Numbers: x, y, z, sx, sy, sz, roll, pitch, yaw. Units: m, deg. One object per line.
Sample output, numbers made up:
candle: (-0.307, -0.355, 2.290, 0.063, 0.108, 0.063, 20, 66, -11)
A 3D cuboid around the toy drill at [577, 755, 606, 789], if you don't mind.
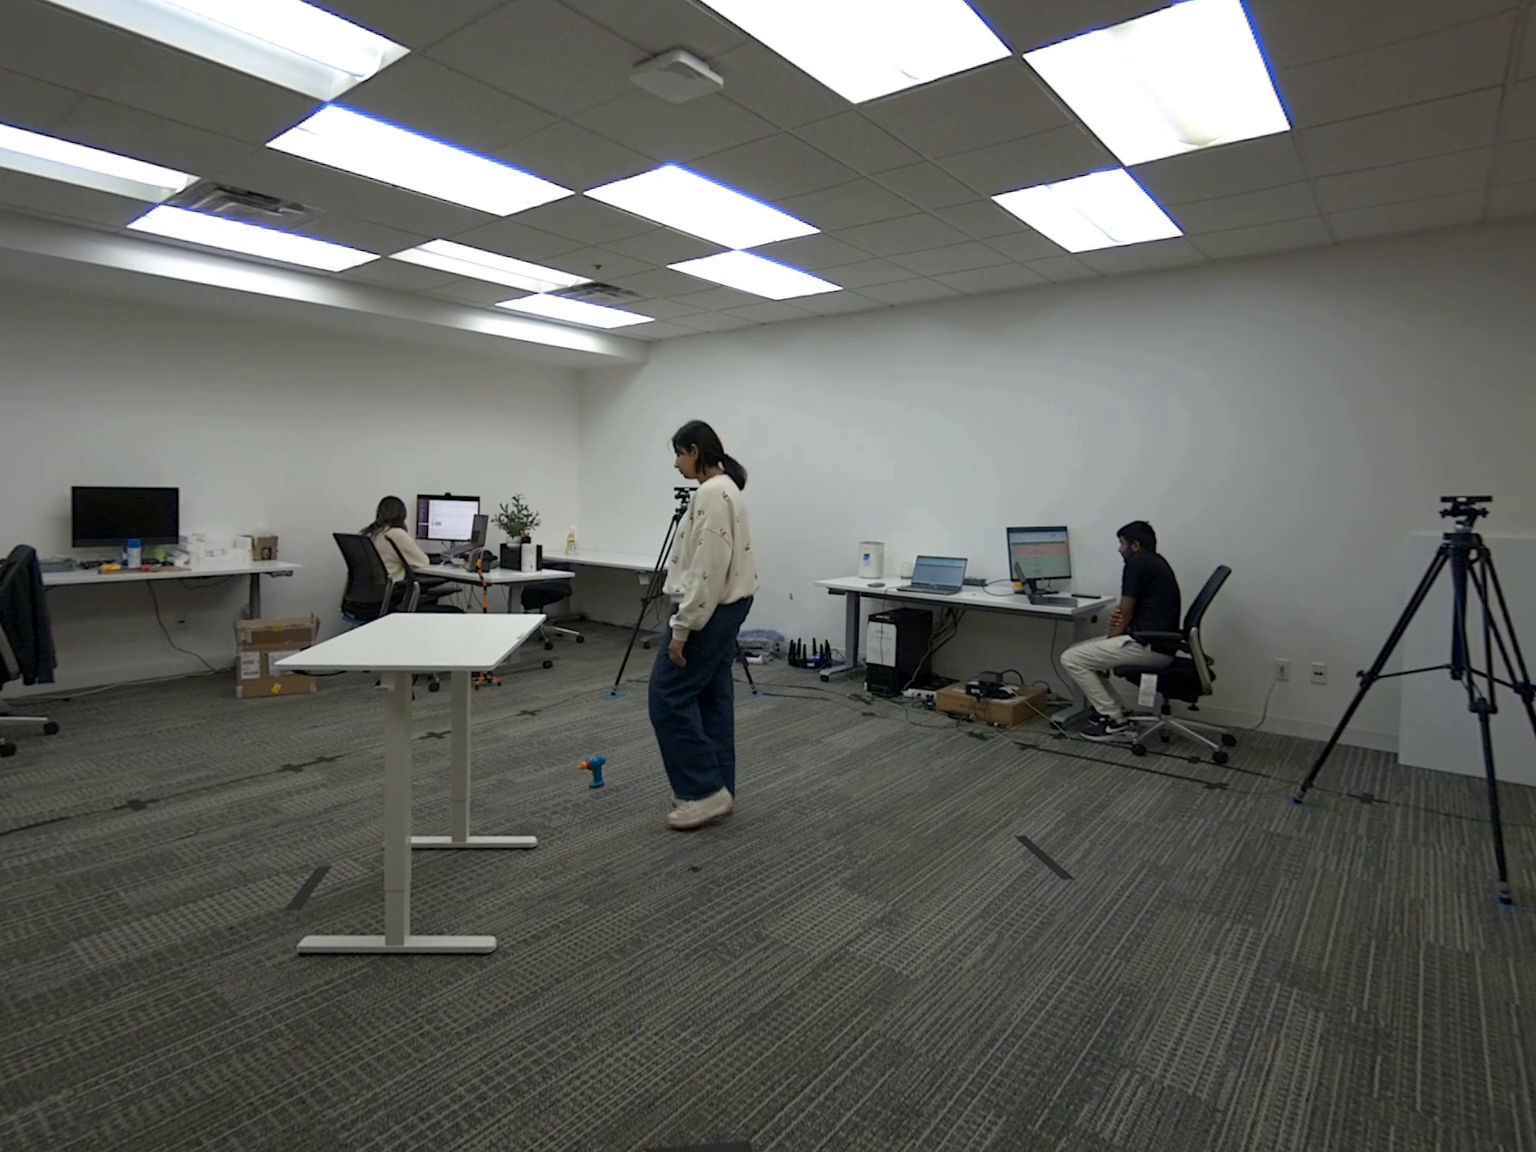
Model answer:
toy drill: (-0.839, 0.908, 3.929, 0.063, 0.146, 0.165, 2, 4, 40)
